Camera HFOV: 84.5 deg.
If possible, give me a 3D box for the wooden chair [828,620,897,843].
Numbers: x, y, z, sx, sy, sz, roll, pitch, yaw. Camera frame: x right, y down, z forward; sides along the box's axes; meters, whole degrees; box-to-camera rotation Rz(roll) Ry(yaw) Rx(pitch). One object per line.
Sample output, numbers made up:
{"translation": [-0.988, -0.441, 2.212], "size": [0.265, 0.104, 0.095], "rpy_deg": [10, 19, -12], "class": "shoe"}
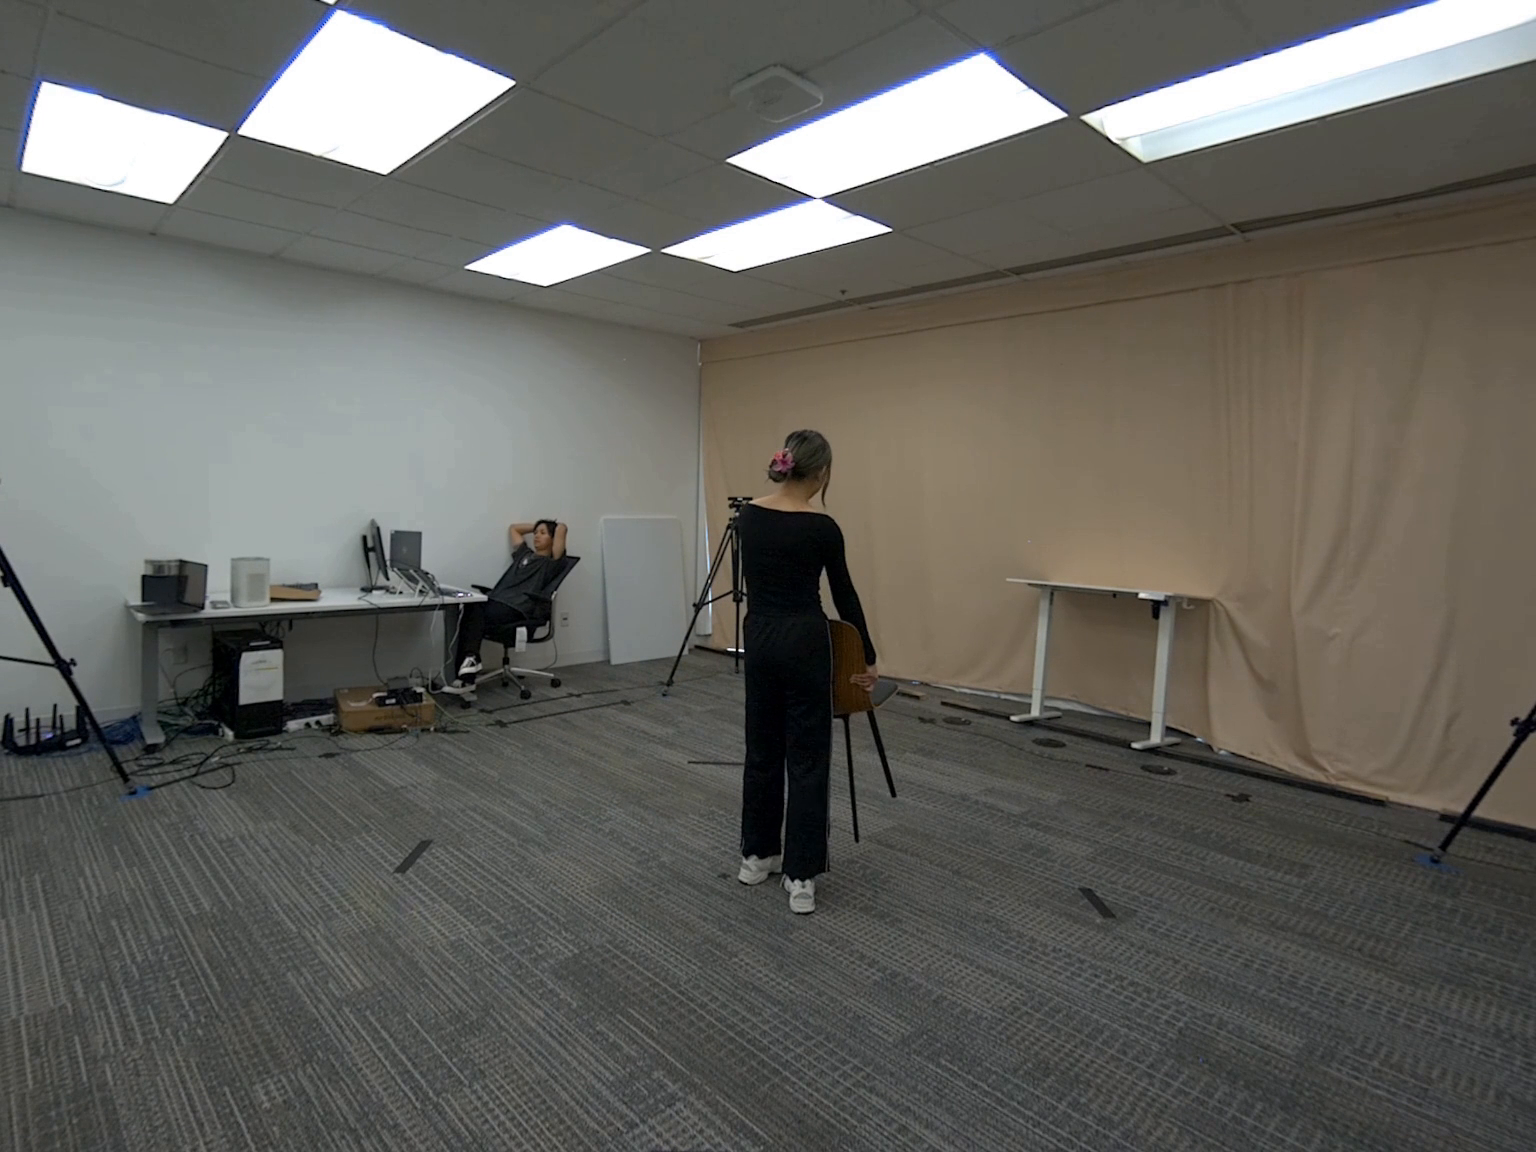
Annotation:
{"translation": [0.230, 0.508, 3.330], "size": [0.488, 0.869, 0.517], "rpy_deg": [5, 14, 27], "class": "wooden chair"}
